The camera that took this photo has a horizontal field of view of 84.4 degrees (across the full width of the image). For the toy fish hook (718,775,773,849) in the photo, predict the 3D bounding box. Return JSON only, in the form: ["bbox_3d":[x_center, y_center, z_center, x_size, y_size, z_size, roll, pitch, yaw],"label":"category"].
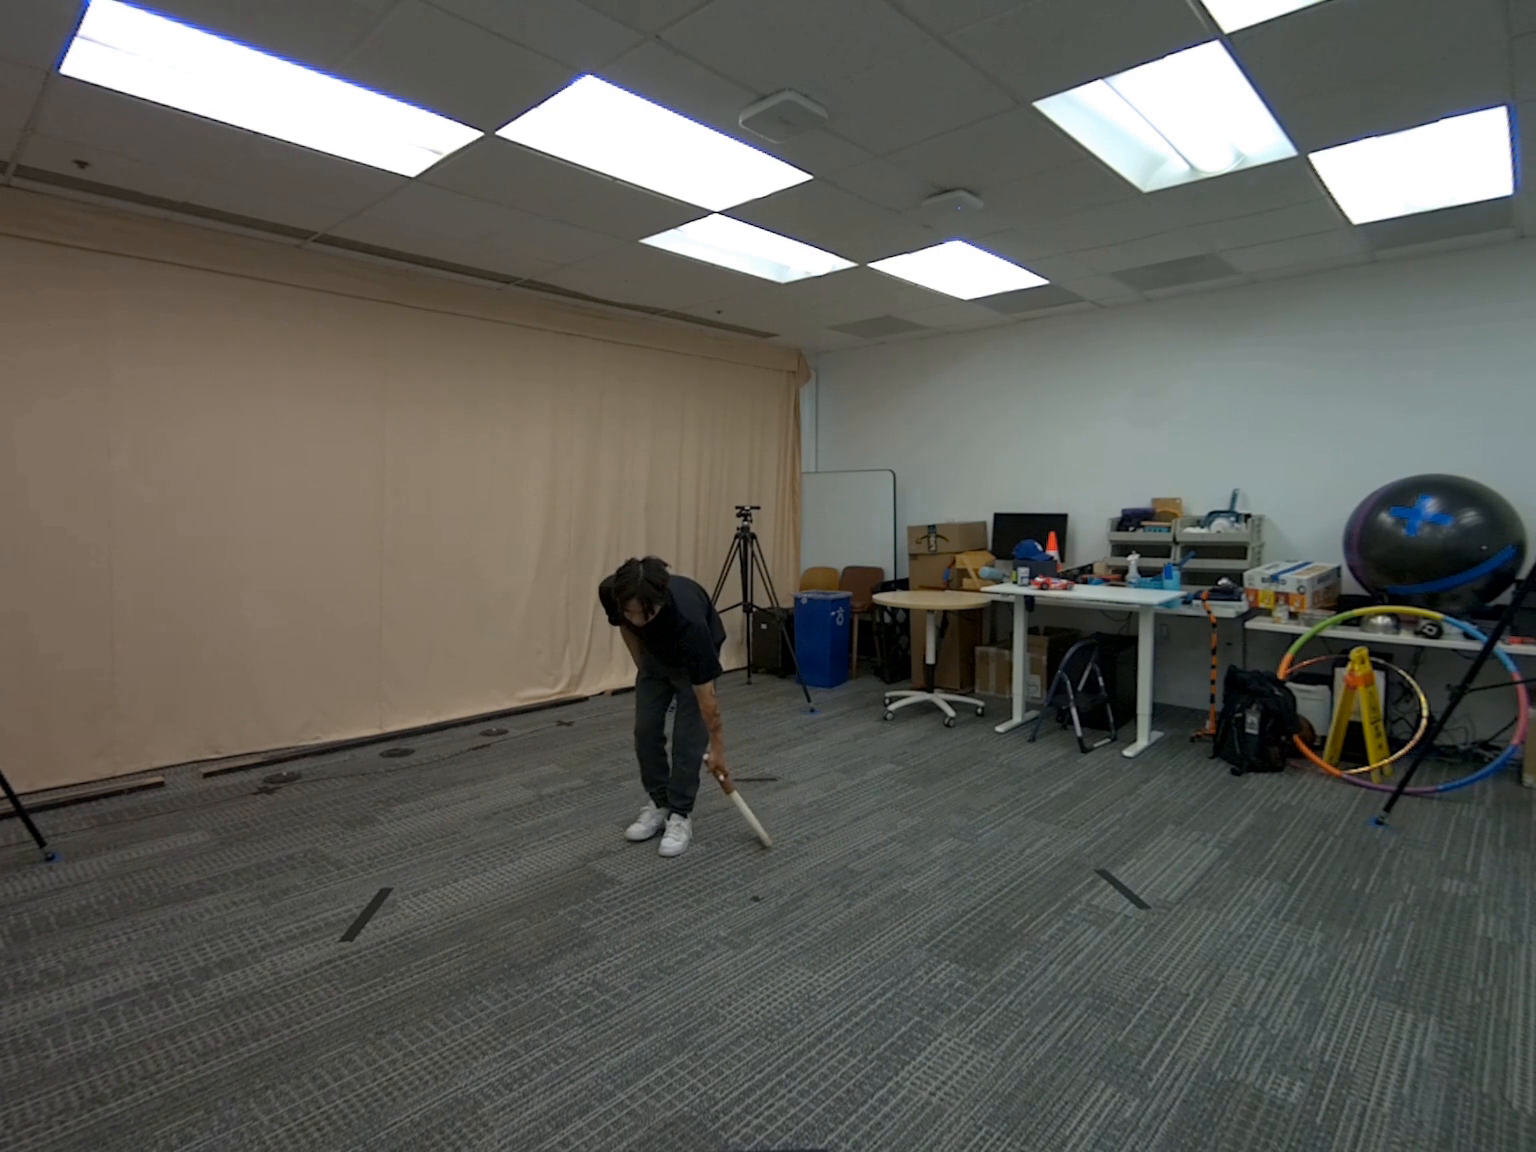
[{"bbox_3d":[-0.136,0.904,3.426,0.048,0.498,0.230,-36,15,-14],"label":"toy fish hook"}]
